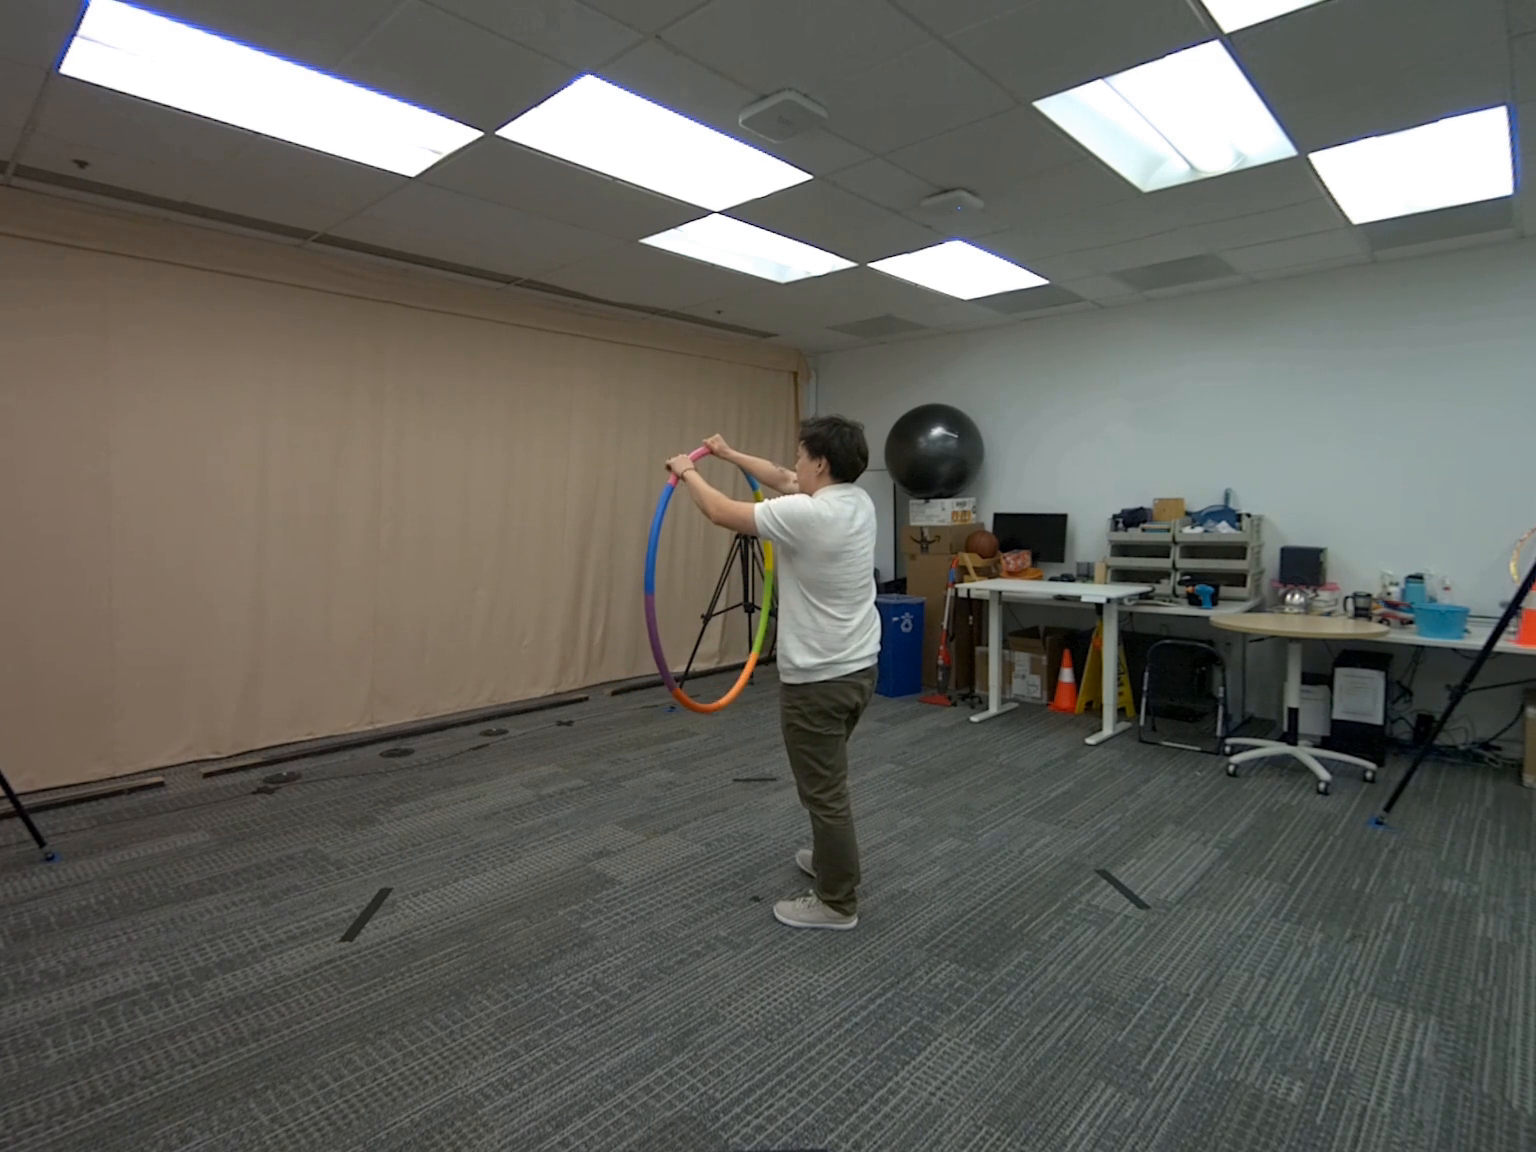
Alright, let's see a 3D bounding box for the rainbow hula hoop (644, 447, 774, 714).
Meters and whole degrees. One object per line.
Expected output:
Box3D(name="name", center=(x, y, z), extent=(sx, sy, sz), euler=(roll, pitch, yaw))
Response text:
Box3D(name="rainbow hula hoop", center=(-0.188, 0.011, 3.148), extent=(0.036, 0.976, 0.955), euler=(1, 4, 26))
